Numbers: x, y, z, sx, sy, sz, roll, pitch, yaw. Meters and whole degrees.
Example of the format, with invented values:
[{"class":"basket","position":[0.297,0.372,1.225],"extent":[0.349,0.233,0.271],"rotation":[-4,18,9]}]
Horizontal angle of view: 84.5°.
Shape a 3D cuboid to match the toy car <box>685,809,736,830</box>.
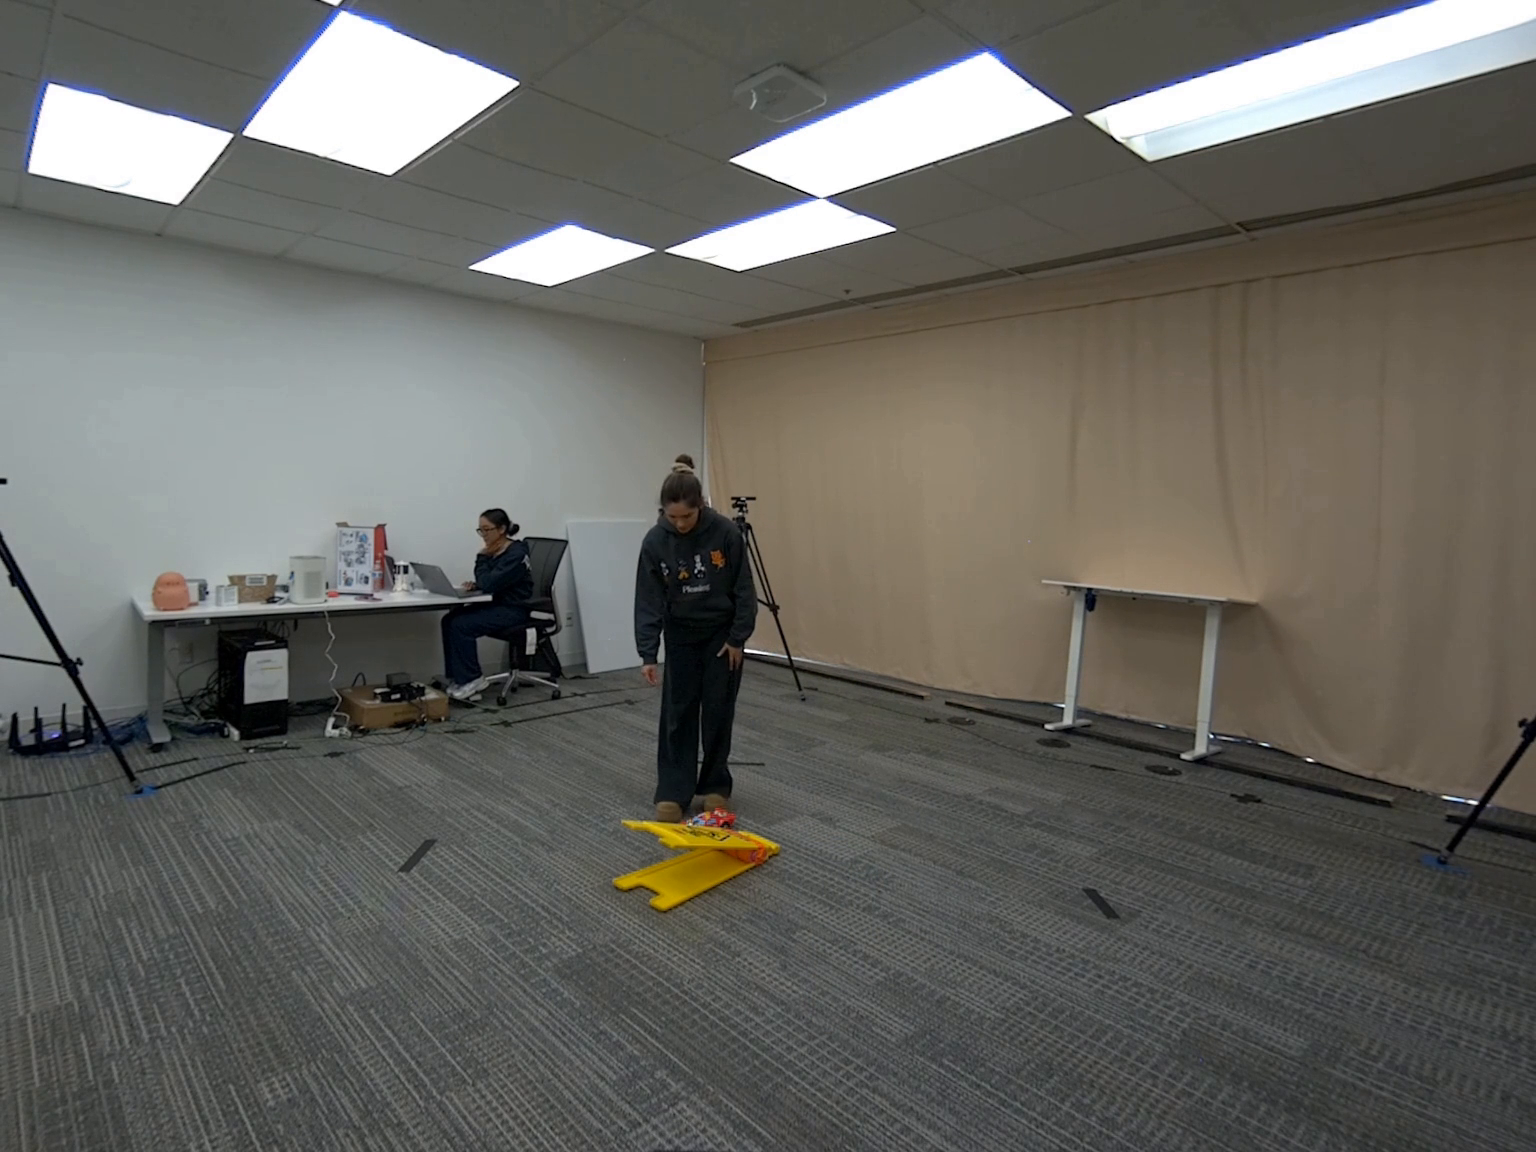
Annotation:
[{"class":"toy car","position":[-0.266,1.033,3.519],"extent":[0.250,0.082,0.133],"rotation":[-16,14,-39]}]
